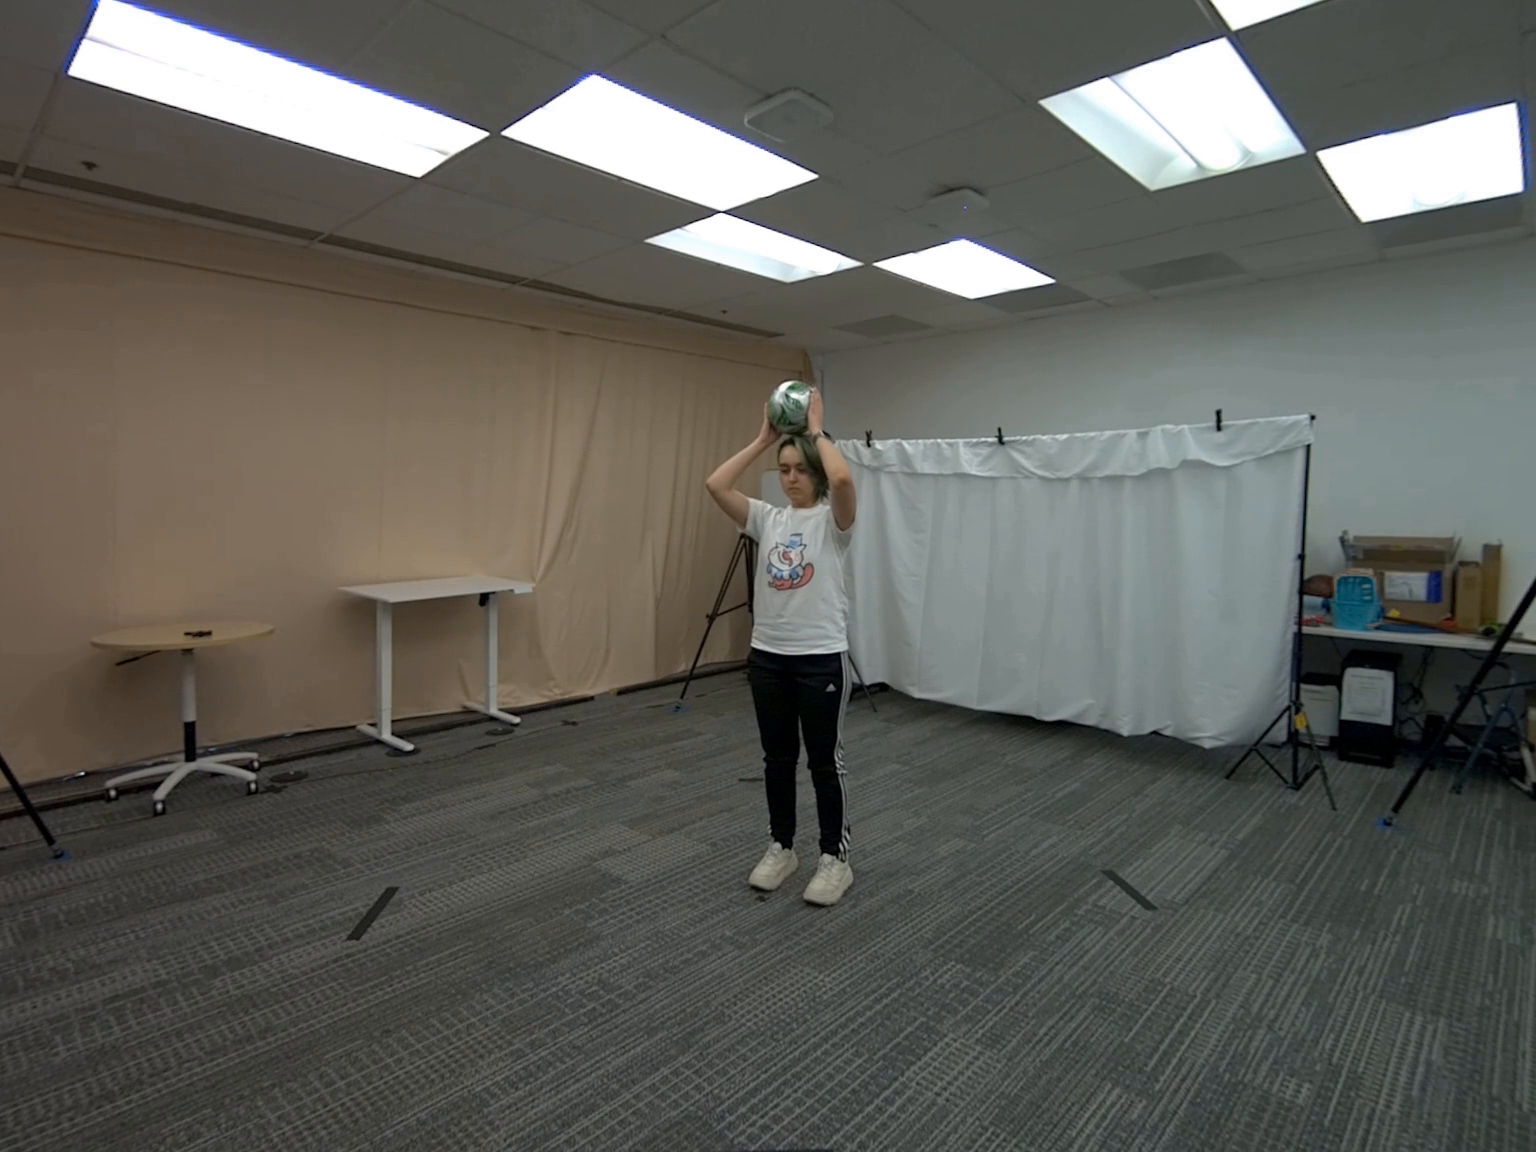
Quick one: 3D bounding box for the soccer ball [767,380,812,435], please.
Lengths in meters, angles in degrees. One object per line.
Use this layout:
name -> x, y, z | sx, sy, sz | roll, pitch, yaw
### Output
soccer ball -> 0.098, -0.595, 2.974 | 0.187, 0.187, 0.188 | 0, 4, -2
